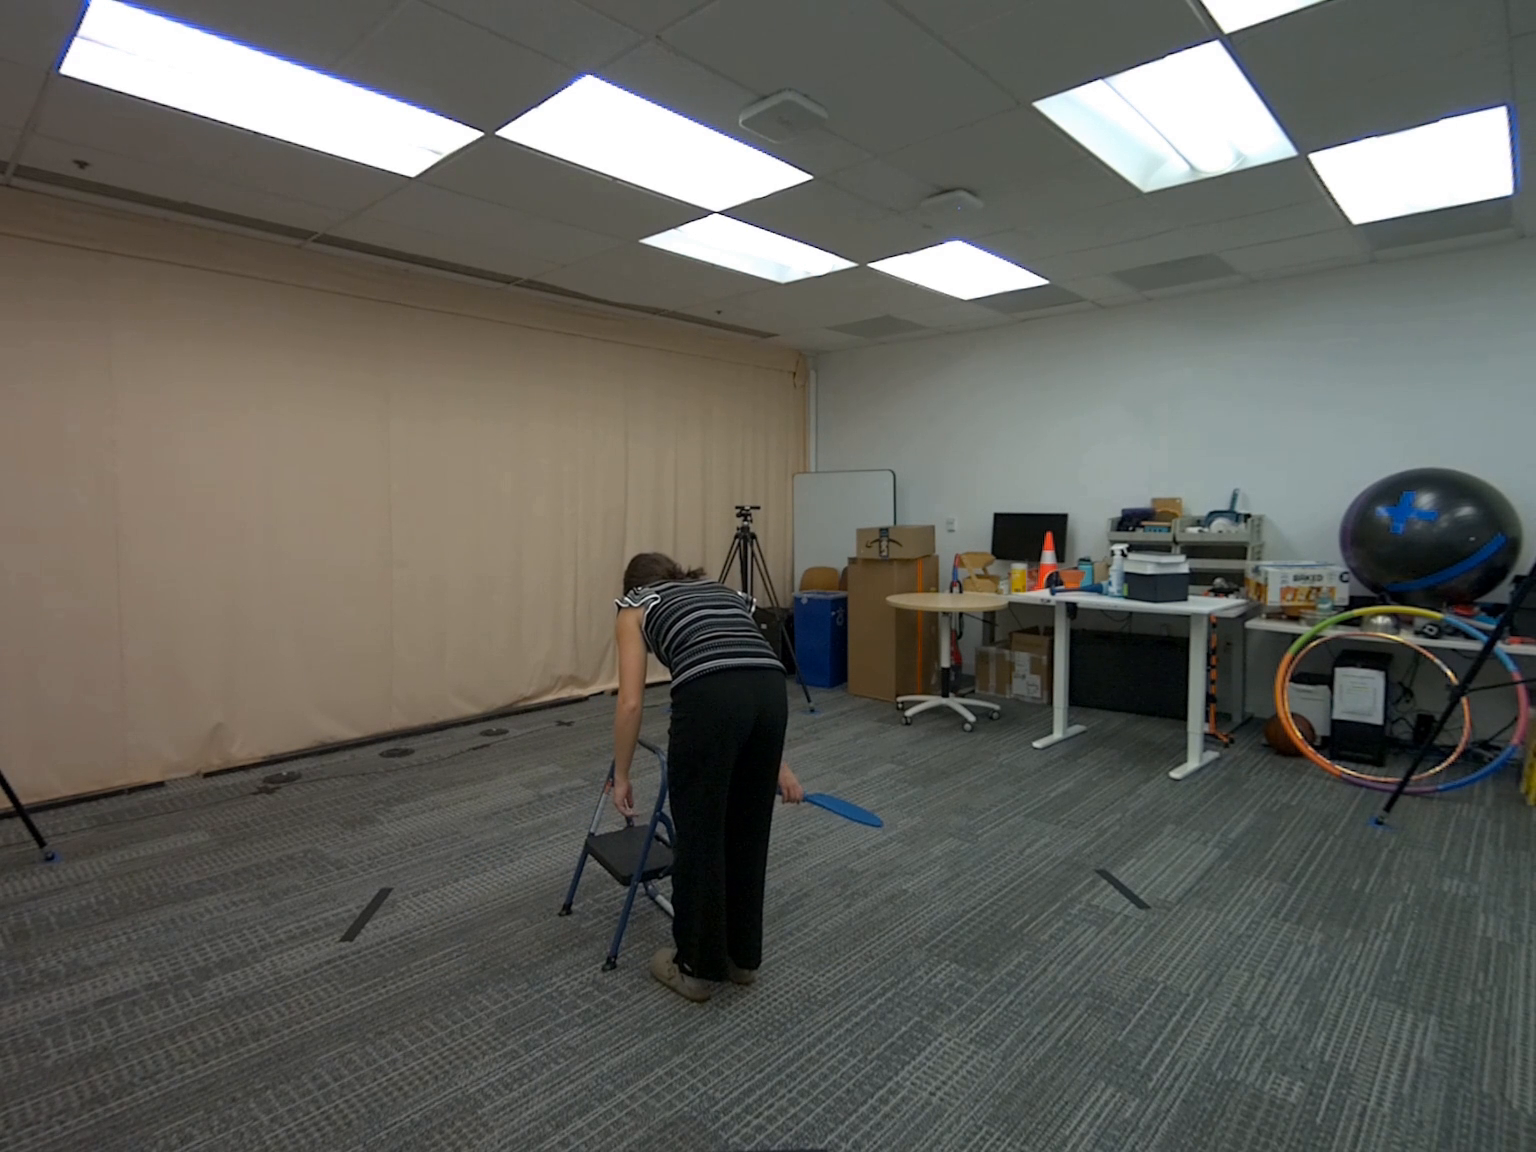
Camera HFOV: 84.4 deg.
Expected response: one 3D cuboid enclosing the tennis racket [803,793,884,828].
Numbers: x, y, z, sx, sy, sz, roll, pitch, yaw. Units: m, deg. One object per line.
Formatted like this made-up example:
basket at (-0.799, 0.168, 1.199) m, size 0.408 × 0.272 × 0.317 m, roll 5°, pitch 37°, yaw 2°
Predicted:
tennis racket at (0.192, 0.763, 2.752) m, size 0.419 × 0.032 × 0.221 m, roll 20°, pitch 2°, yaw -31°
